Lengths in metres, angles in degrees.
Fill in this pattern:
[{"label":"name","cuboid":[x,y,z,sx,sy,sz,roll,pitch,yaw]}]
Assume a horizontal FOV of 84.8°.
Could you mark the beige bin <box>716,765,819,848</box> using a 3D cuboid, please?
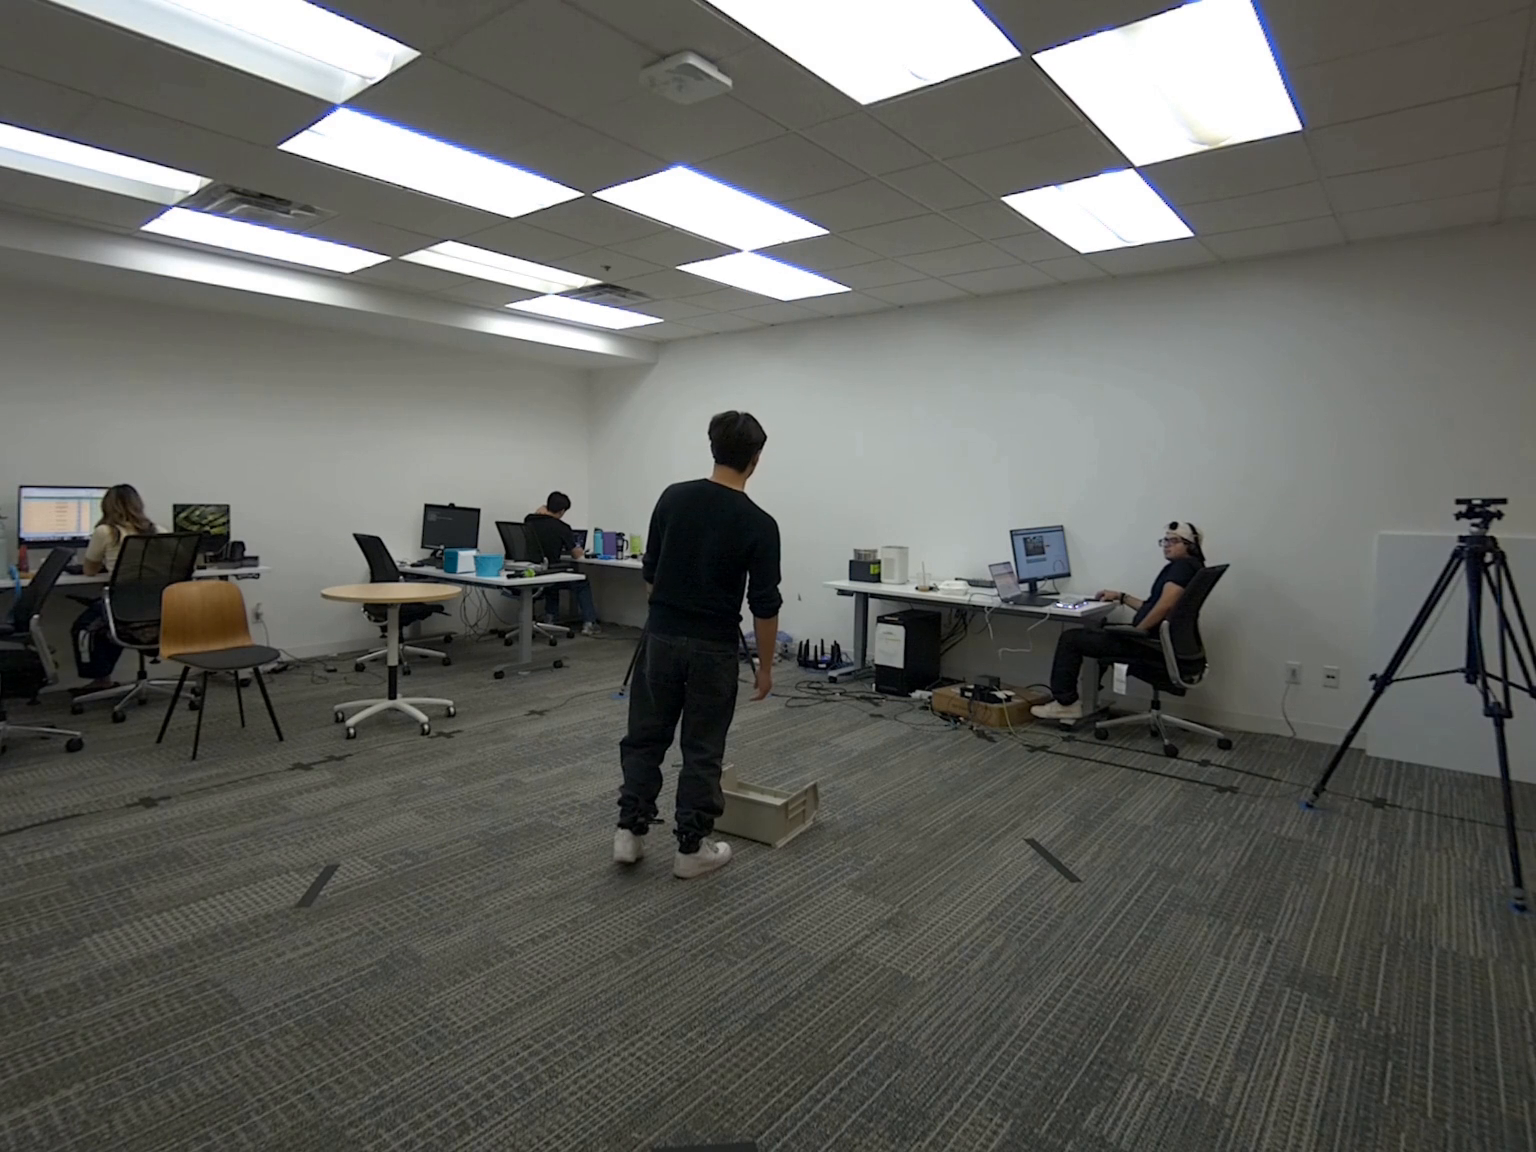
[{"label":"beige bin","cuboid":[-0.059,0.942,3.555,0.435,0.188,0.368,4,7,30]}]
